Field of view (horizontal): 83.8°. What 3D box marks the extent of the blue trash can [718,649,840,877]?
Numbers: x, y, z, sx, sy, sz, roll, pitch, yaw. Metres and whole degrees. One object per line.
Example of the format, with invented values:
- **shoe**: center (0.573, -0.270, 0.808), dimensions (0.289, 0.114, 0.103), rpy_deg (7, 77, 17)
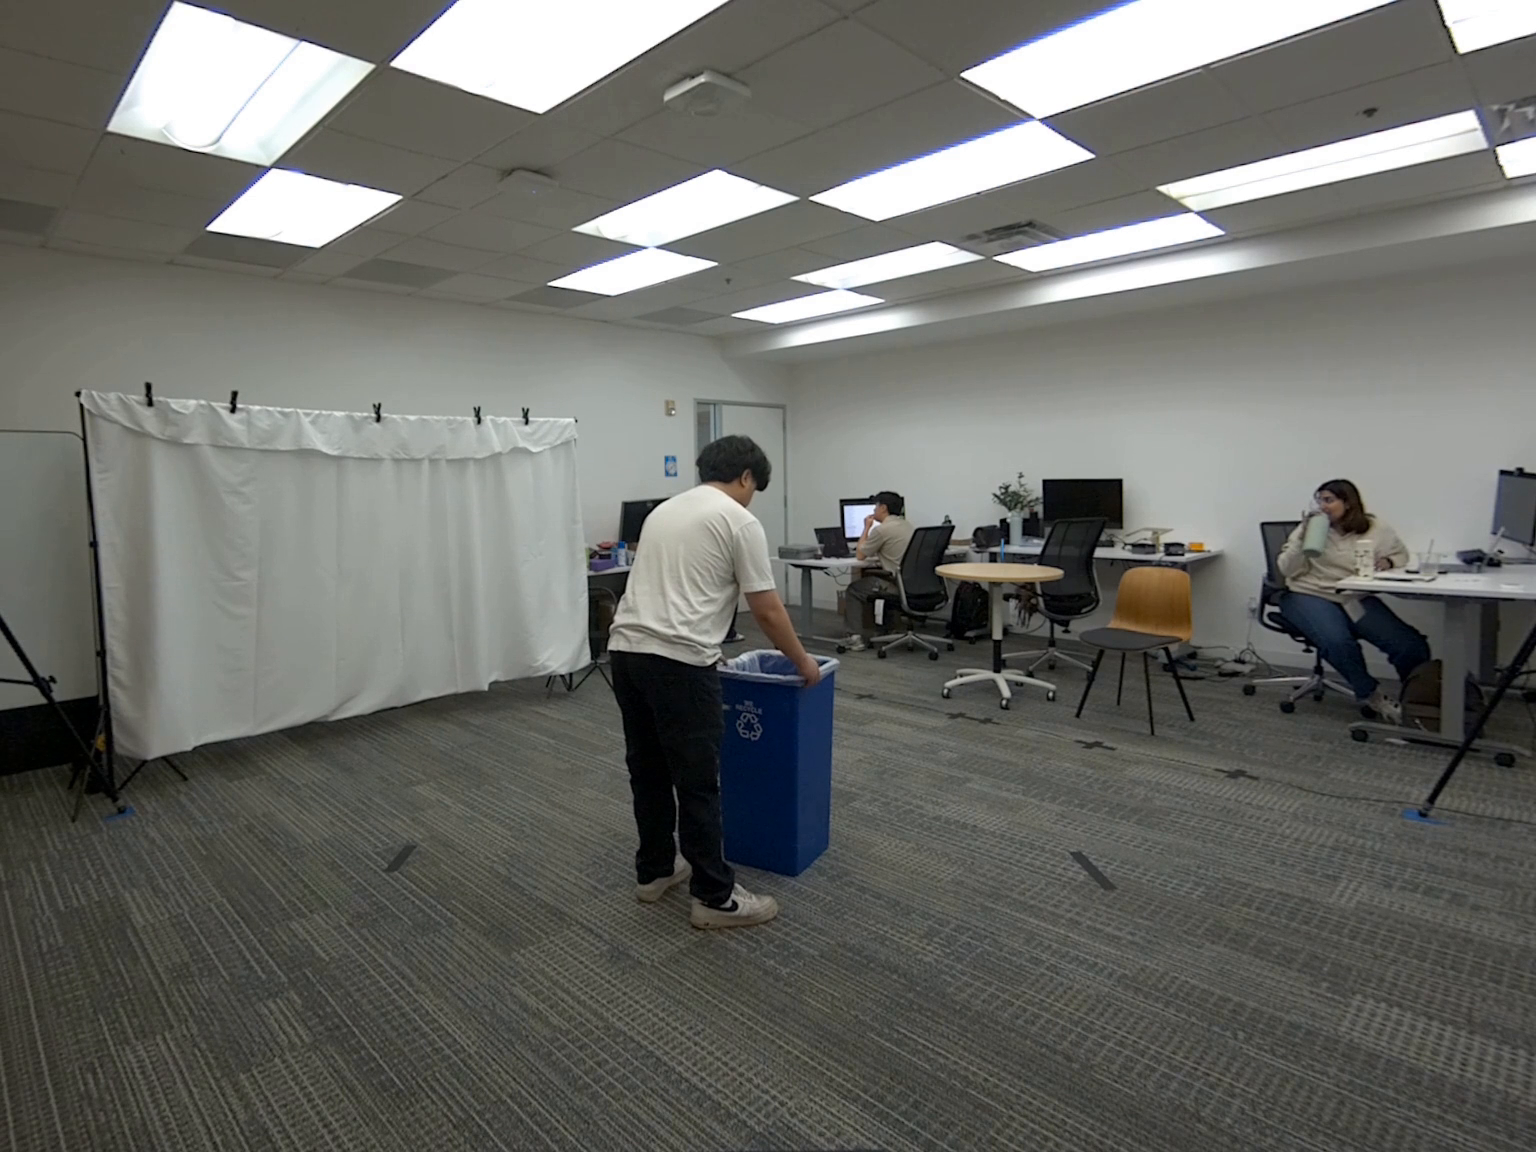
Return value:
- **blue trash can**: center (0.040, 0.674, 3.164), dimensions (0.384, 0.711, 0.370), rpy_deg (2, 5, 29)
